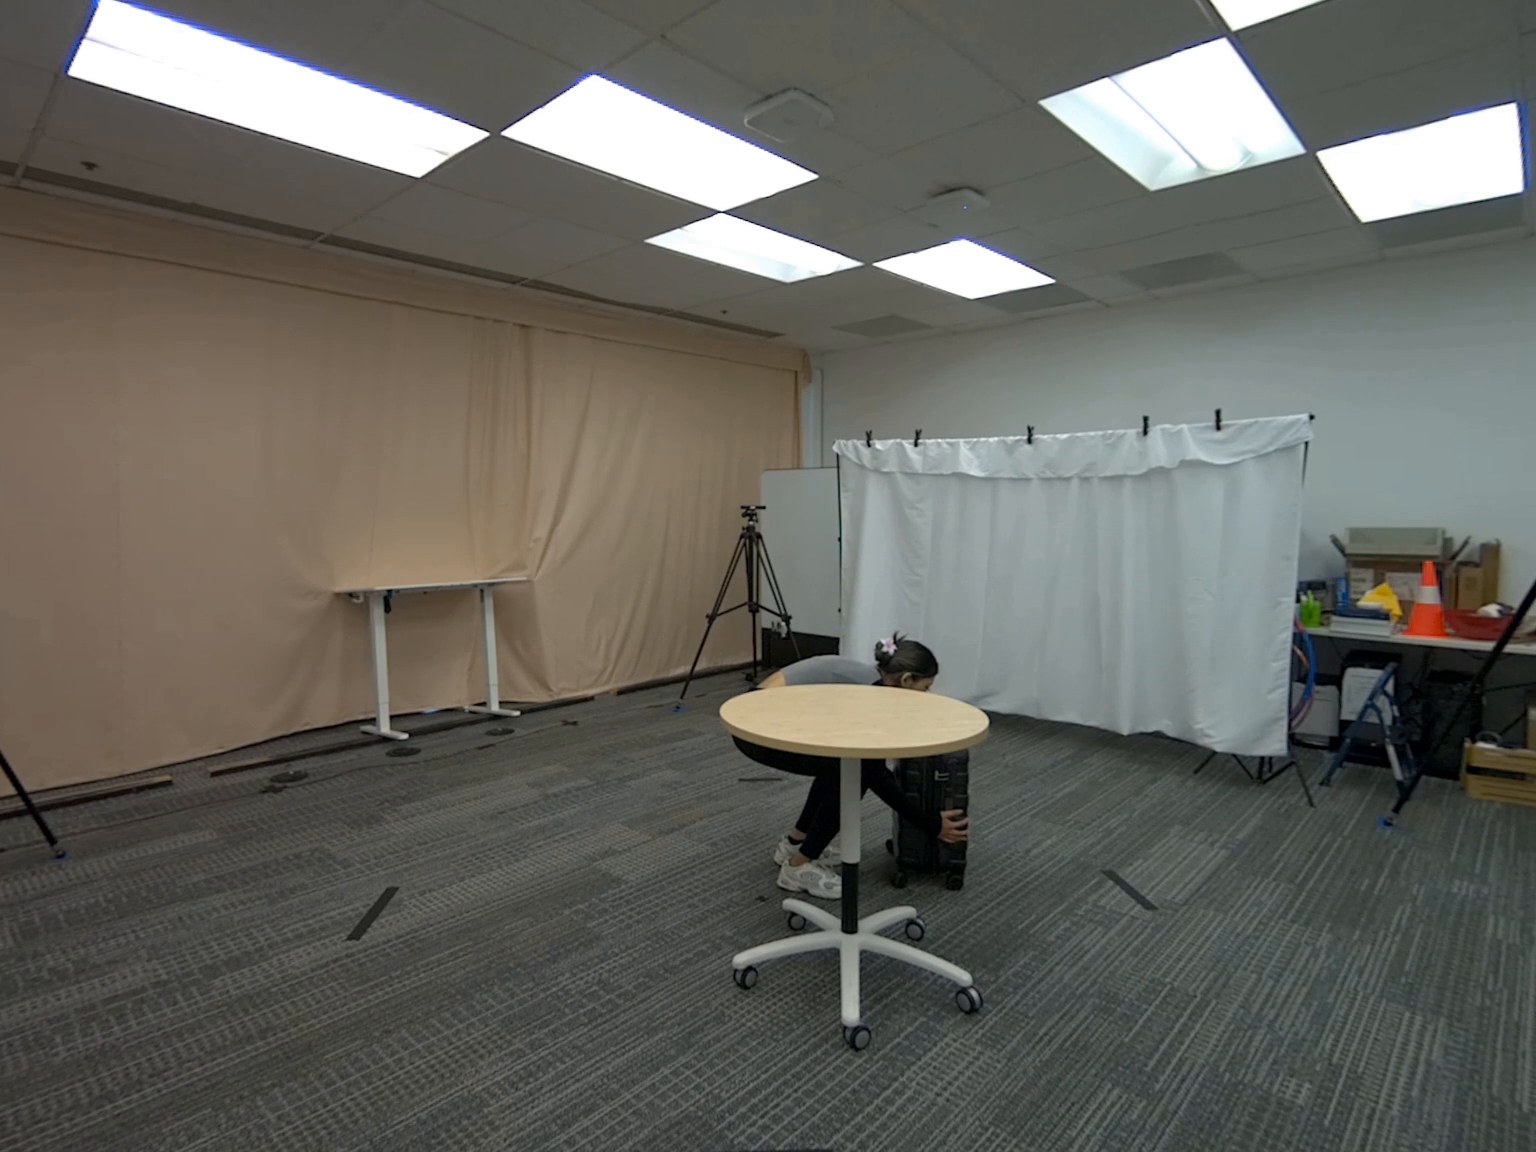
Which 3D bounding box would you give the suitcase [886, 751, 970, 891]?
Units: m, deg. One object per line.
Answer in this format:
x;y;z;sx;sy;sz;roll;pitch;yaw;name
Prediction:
0.620;0.854;3.192;0.251;0.548;0.372;2;4;8;suitcase
